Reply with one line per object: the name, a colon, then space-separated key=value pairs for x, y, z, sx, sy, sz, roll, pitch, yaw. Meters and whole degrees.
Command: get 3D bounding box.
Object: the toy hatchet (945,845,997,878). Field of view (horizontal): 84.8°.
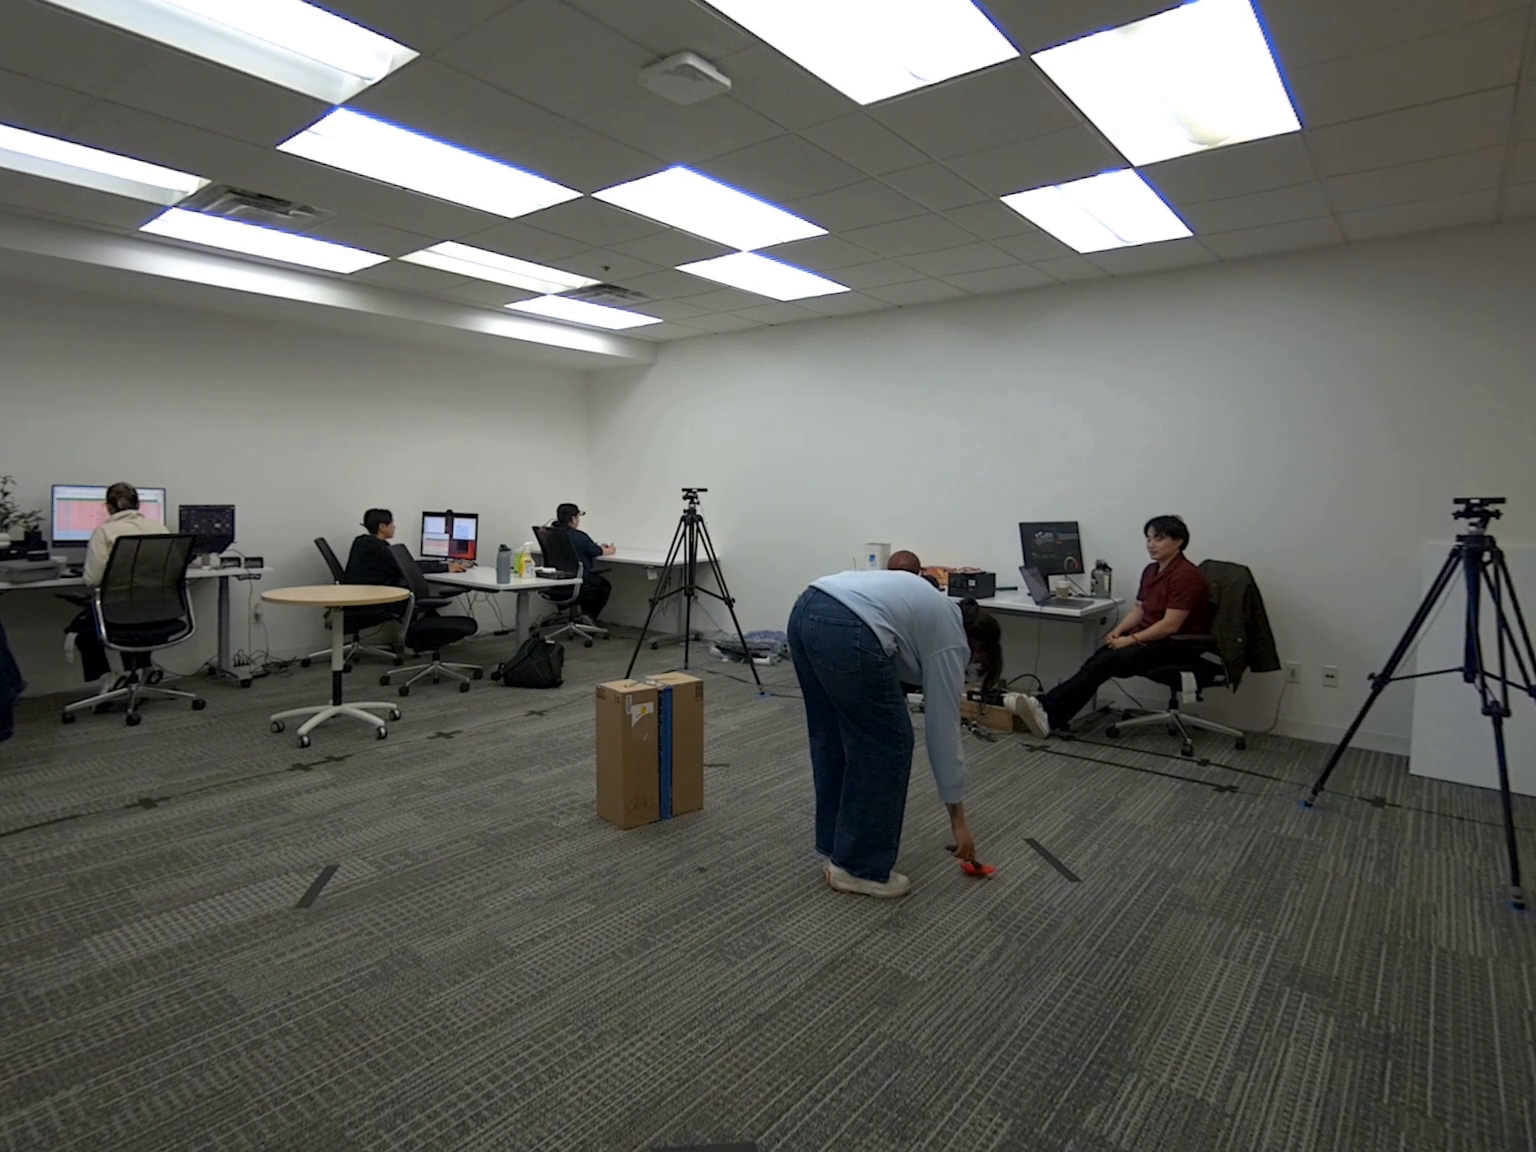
toy hatchet: x=0.696 y=1.025 z=3.069 sx=0.261 sy=0.030 sz=0.133 roll=31 pitch=-32 yaw=-28
